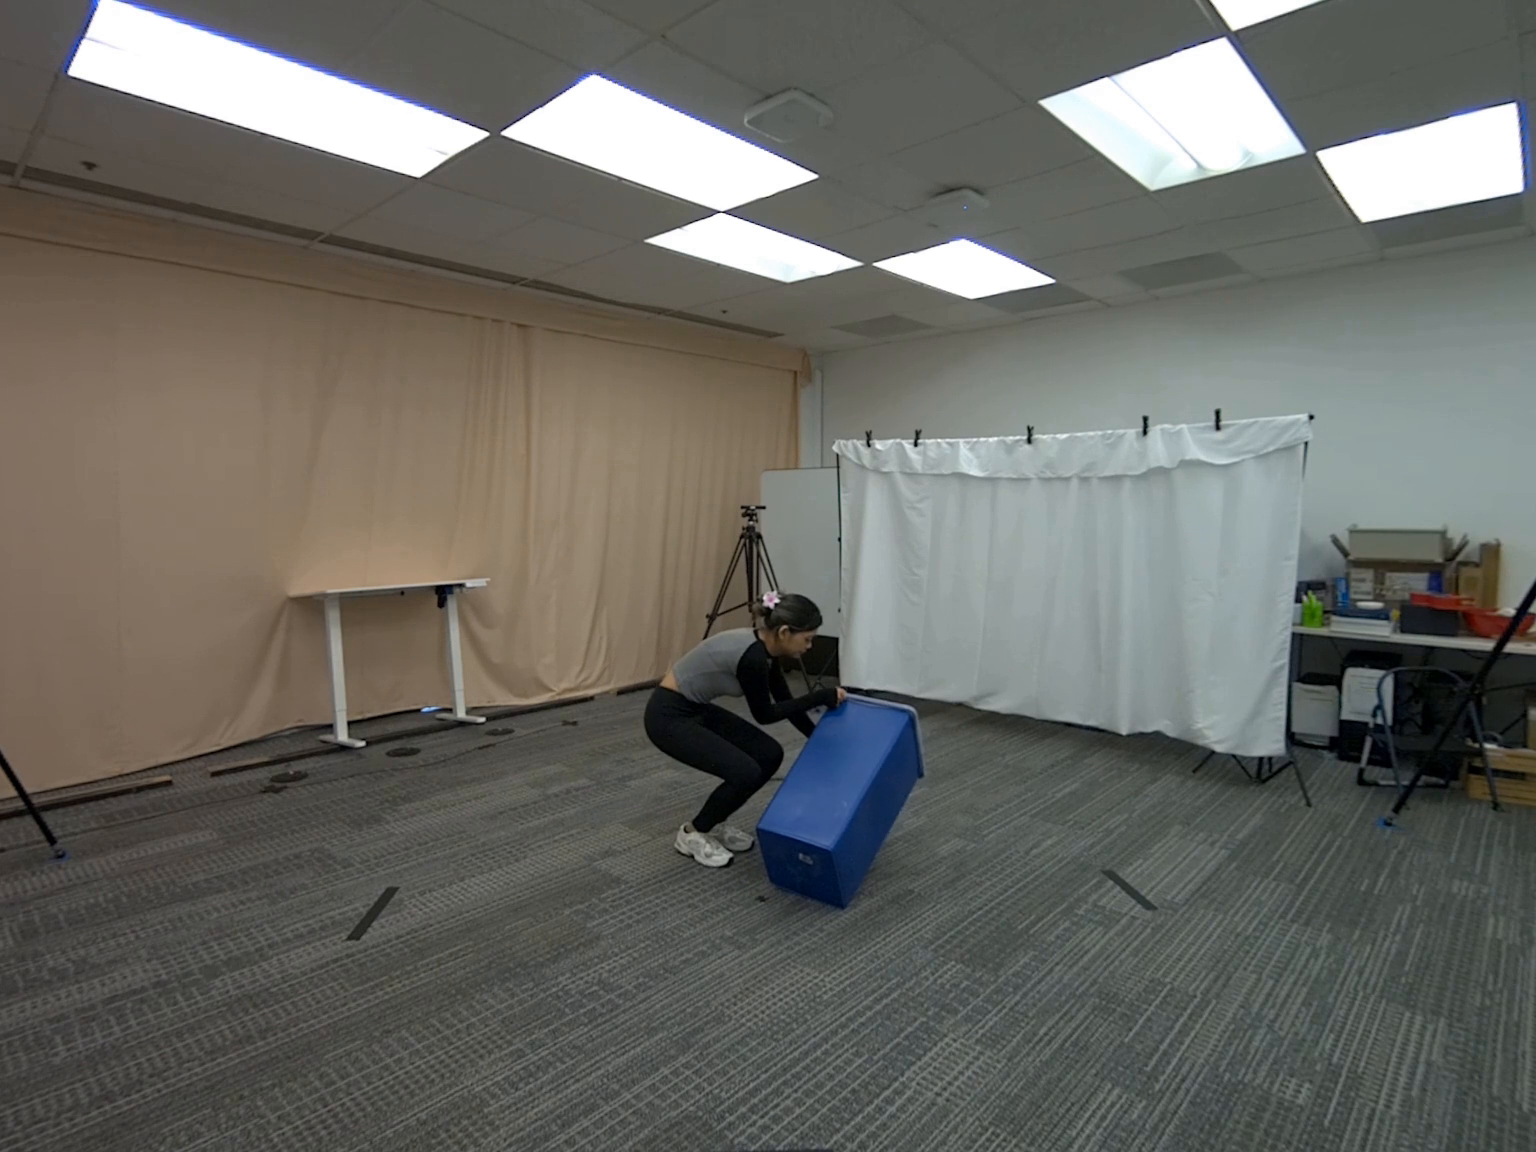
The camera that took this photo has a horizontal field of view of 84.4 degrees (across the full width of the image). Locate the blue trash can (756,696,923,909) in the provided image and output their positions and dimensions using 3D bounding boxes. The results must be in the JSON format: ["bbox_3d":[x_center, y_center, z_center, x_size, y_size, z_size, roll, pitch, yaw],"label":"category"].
[{"bbox_3d":[0.278,0.826,3.155,0.386,0.370,0.707,7,35,32],"label":"blue trash can"}]
